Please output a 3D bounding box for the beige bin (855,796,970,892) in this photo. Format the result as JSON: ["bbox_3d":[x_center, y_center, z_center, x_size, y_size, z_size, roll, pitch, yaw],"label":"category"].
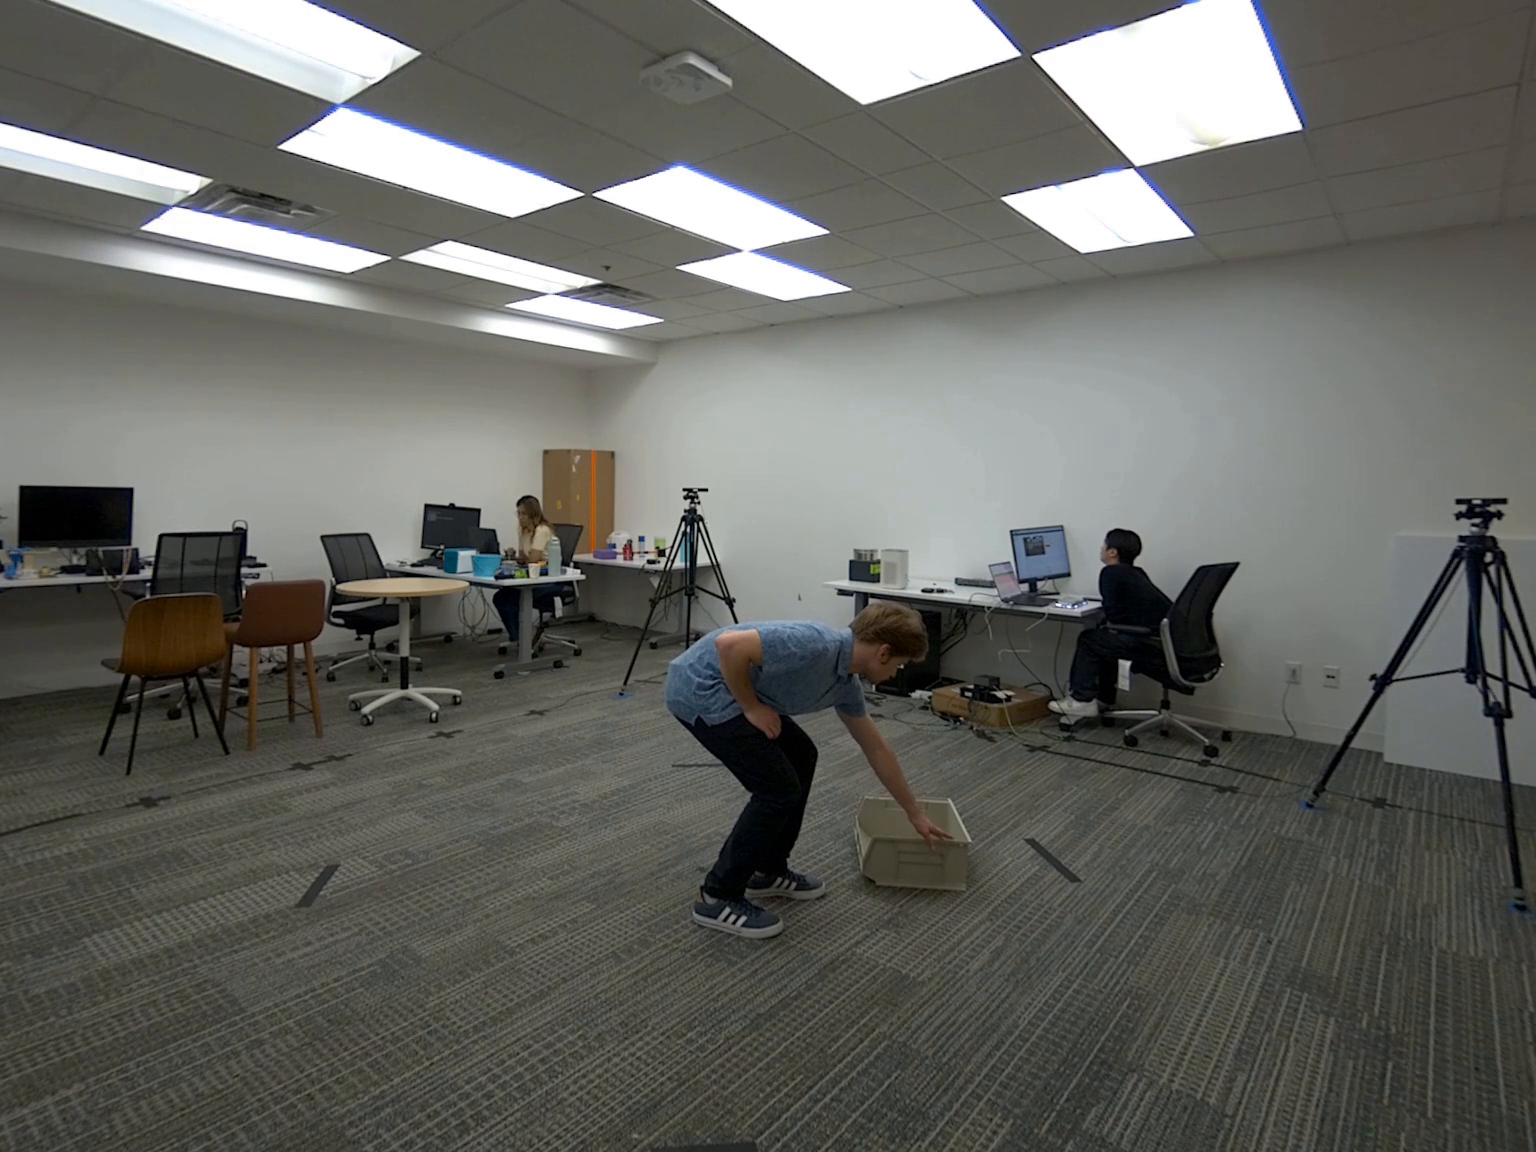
[{"bbox_3d":[0.523,0.987,3.200,0.379,0.188,0.422,2,5,3],"label":"beige bin"}]
